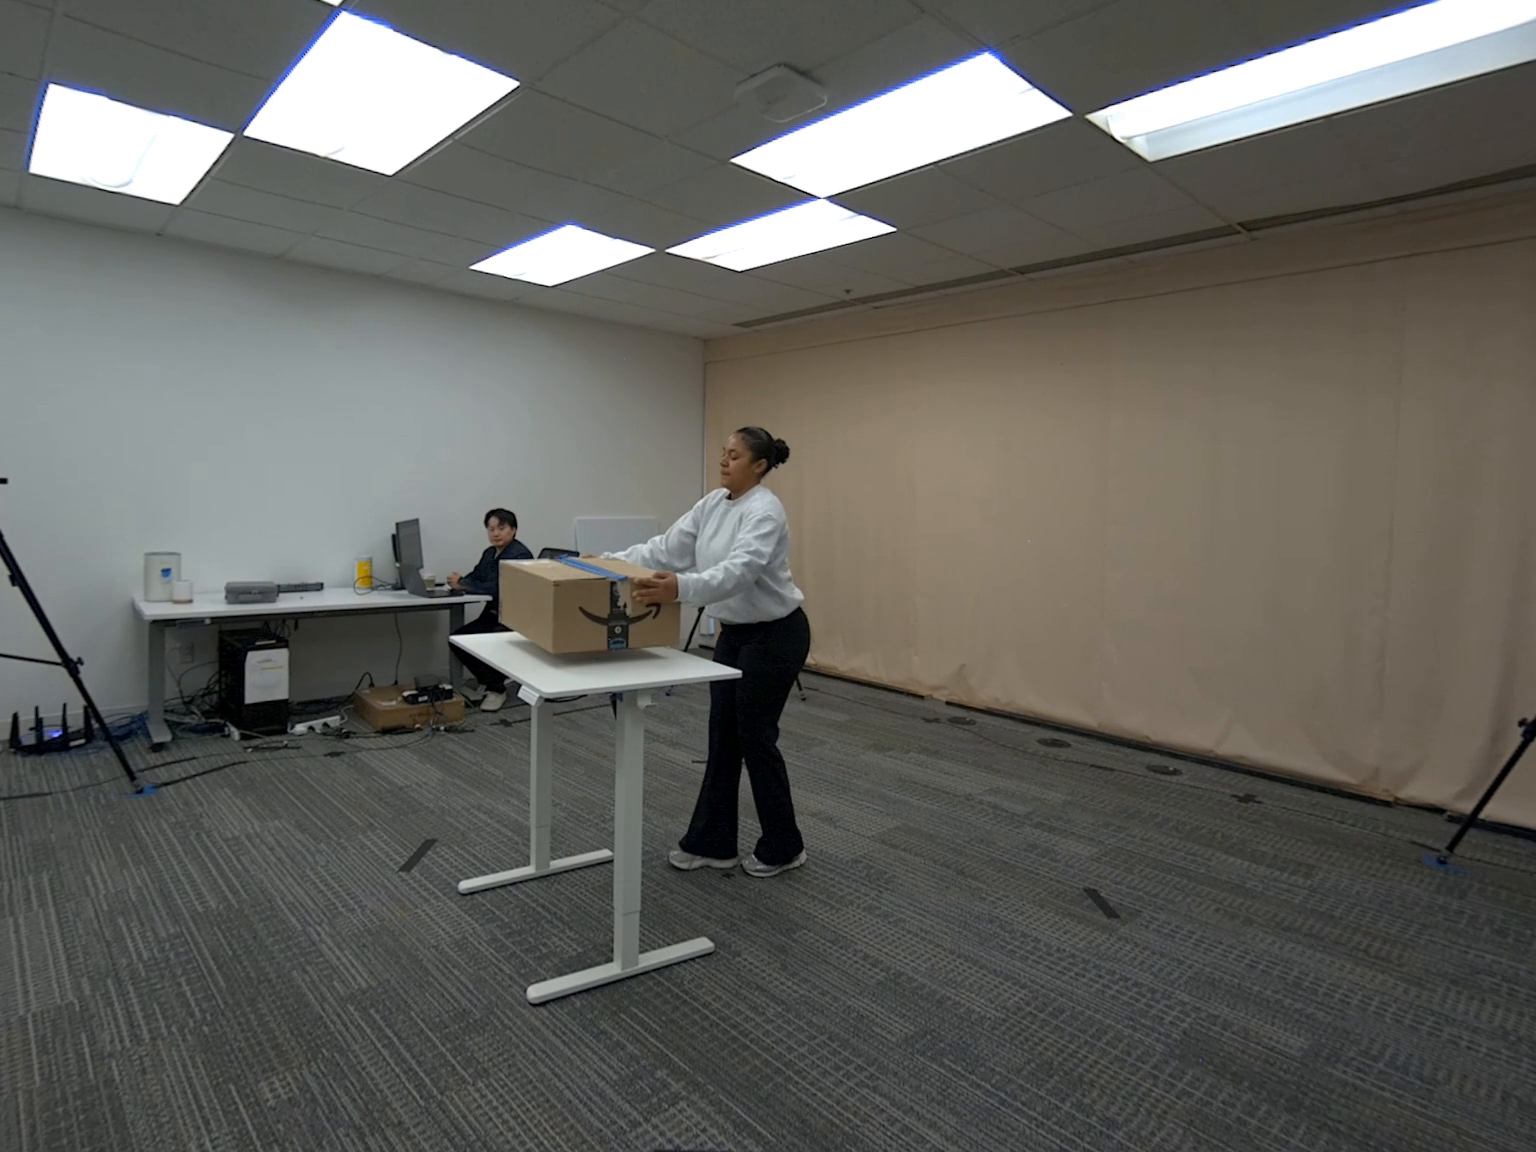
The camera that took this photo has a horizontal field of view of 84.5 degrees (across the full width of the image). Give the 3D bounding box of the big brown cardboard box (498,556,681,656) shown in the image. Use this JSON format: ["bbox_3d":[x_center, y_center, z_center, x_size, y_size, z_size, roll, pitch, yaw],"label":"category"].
[{"bbox_3d":[-0.606,0.079,2.768,0.409,0.232,0.604,-2,8,-32],"label":"big brown cardboard box"}]
